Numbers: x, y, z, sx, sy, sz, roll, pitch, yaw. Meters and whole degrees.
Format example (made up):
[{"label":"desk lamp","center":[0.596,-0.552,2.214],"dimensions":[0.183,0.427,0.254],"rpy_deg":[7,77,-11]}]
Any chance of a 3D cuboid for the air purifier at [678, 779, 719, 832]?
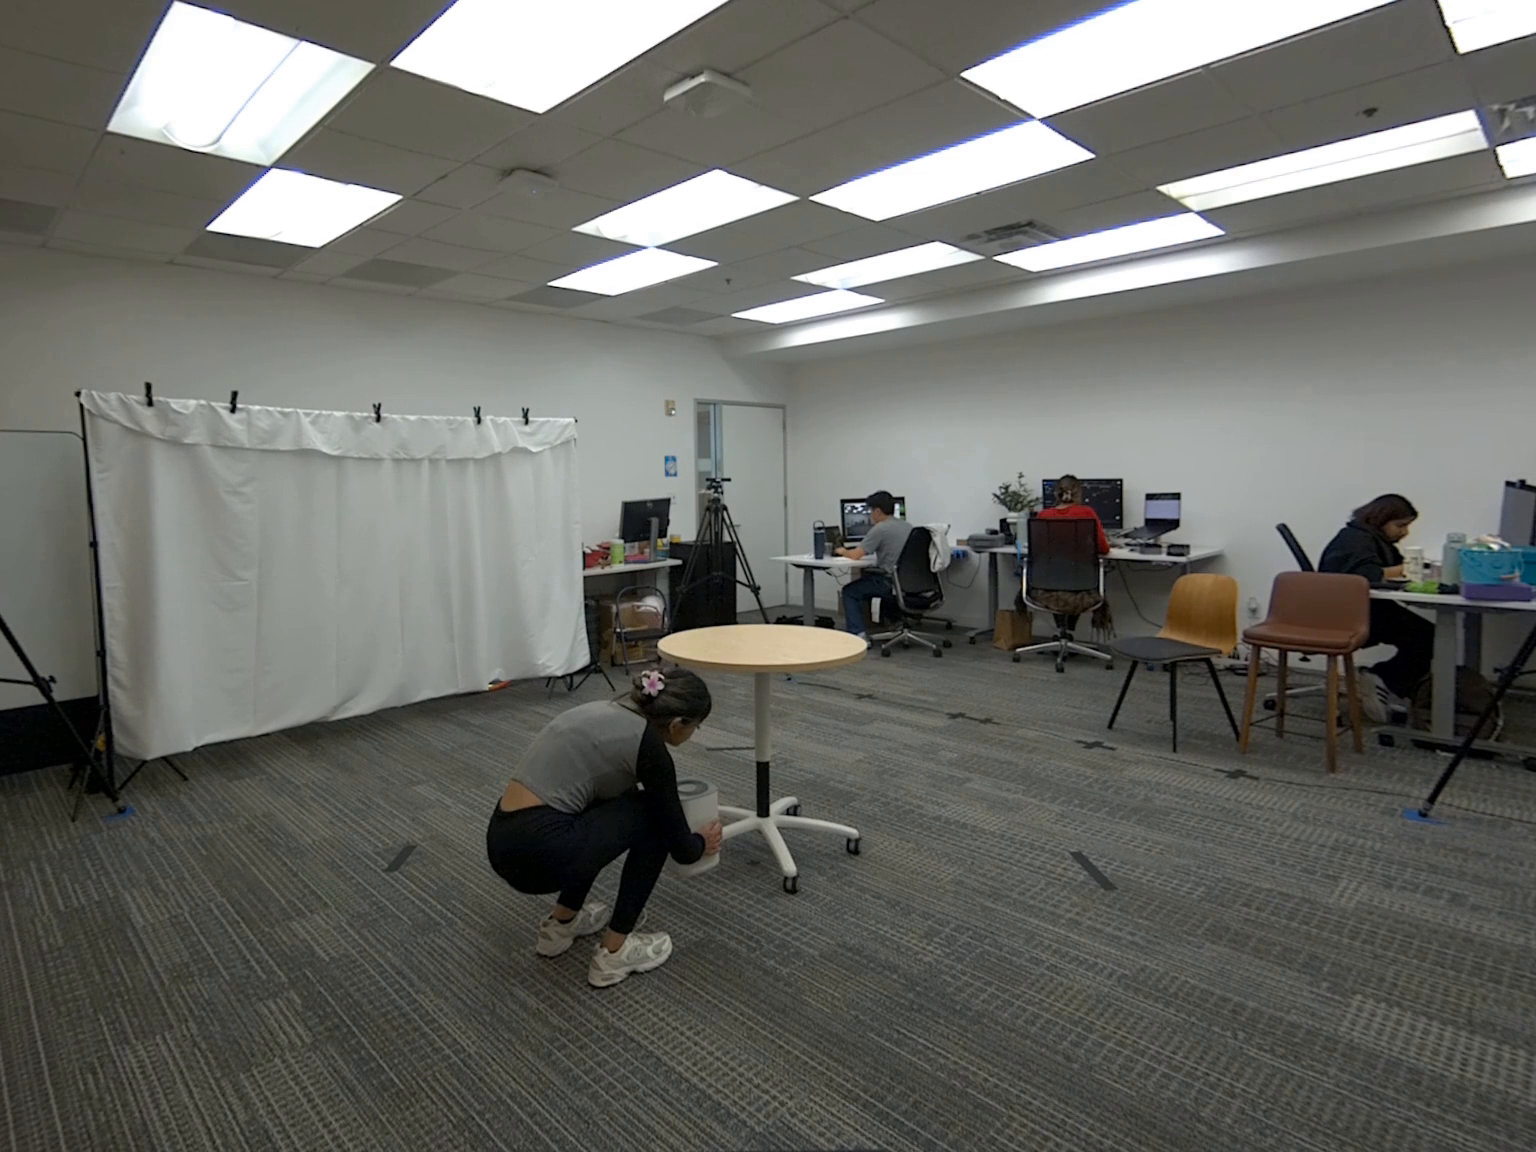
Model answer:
[{"label":"air purifier","center":[-0.252,0.811,2.766],"dimensions":[0.167,0.264,0.176],"rpy_deg":[-6,6,-42]}]
